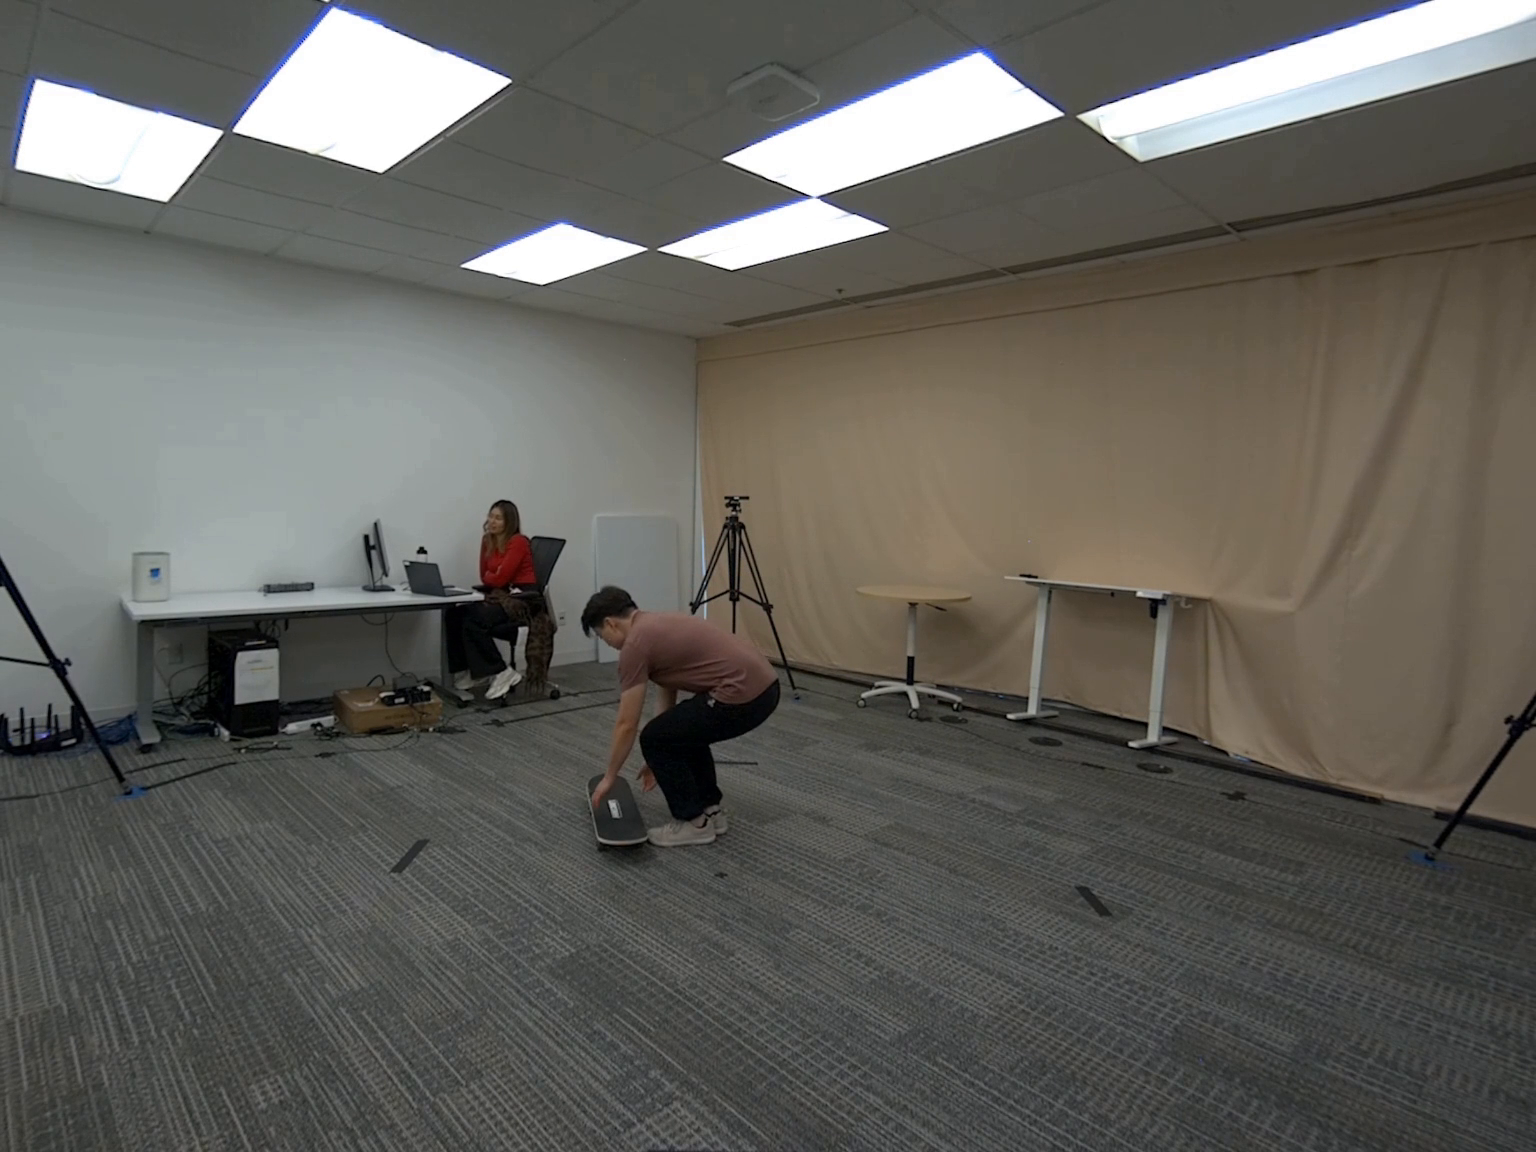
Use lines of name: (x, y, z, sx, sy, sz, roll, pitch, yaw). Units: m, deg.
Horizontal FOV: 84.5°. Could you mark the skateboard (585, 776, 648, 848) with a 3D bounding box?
skateboard: (-0.638, 0.993, 3.505, 0.191, 0.110, 0.797, 0, 5, -16)
